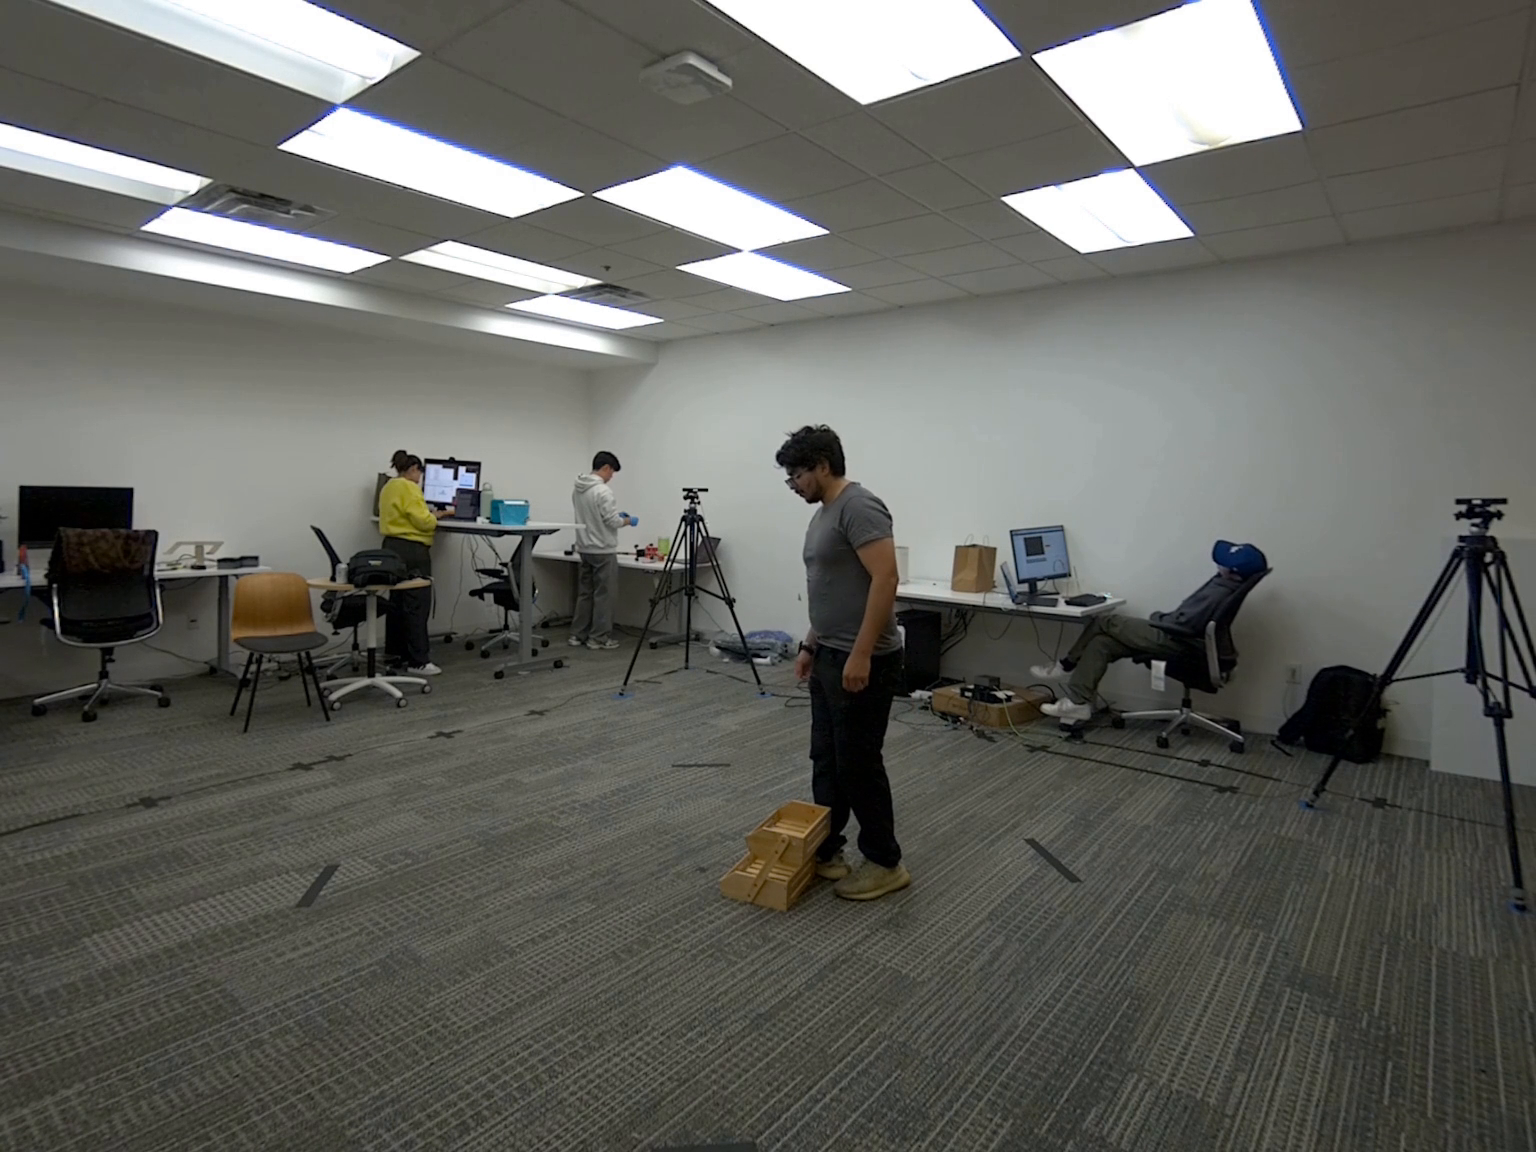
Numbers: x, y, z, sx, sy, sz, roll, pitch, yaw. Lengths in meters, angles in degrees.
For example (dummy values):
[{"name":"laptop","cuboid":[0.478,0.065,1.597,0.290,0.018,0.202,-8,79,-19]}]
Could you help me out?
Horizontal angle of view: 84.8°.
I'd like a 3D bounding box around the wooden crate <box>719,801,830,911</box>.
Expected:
[{"name":"wooden crate","cuboid":[0.018,0.956,2.976,0.310,0.272,0.317,4,5,23]}]
